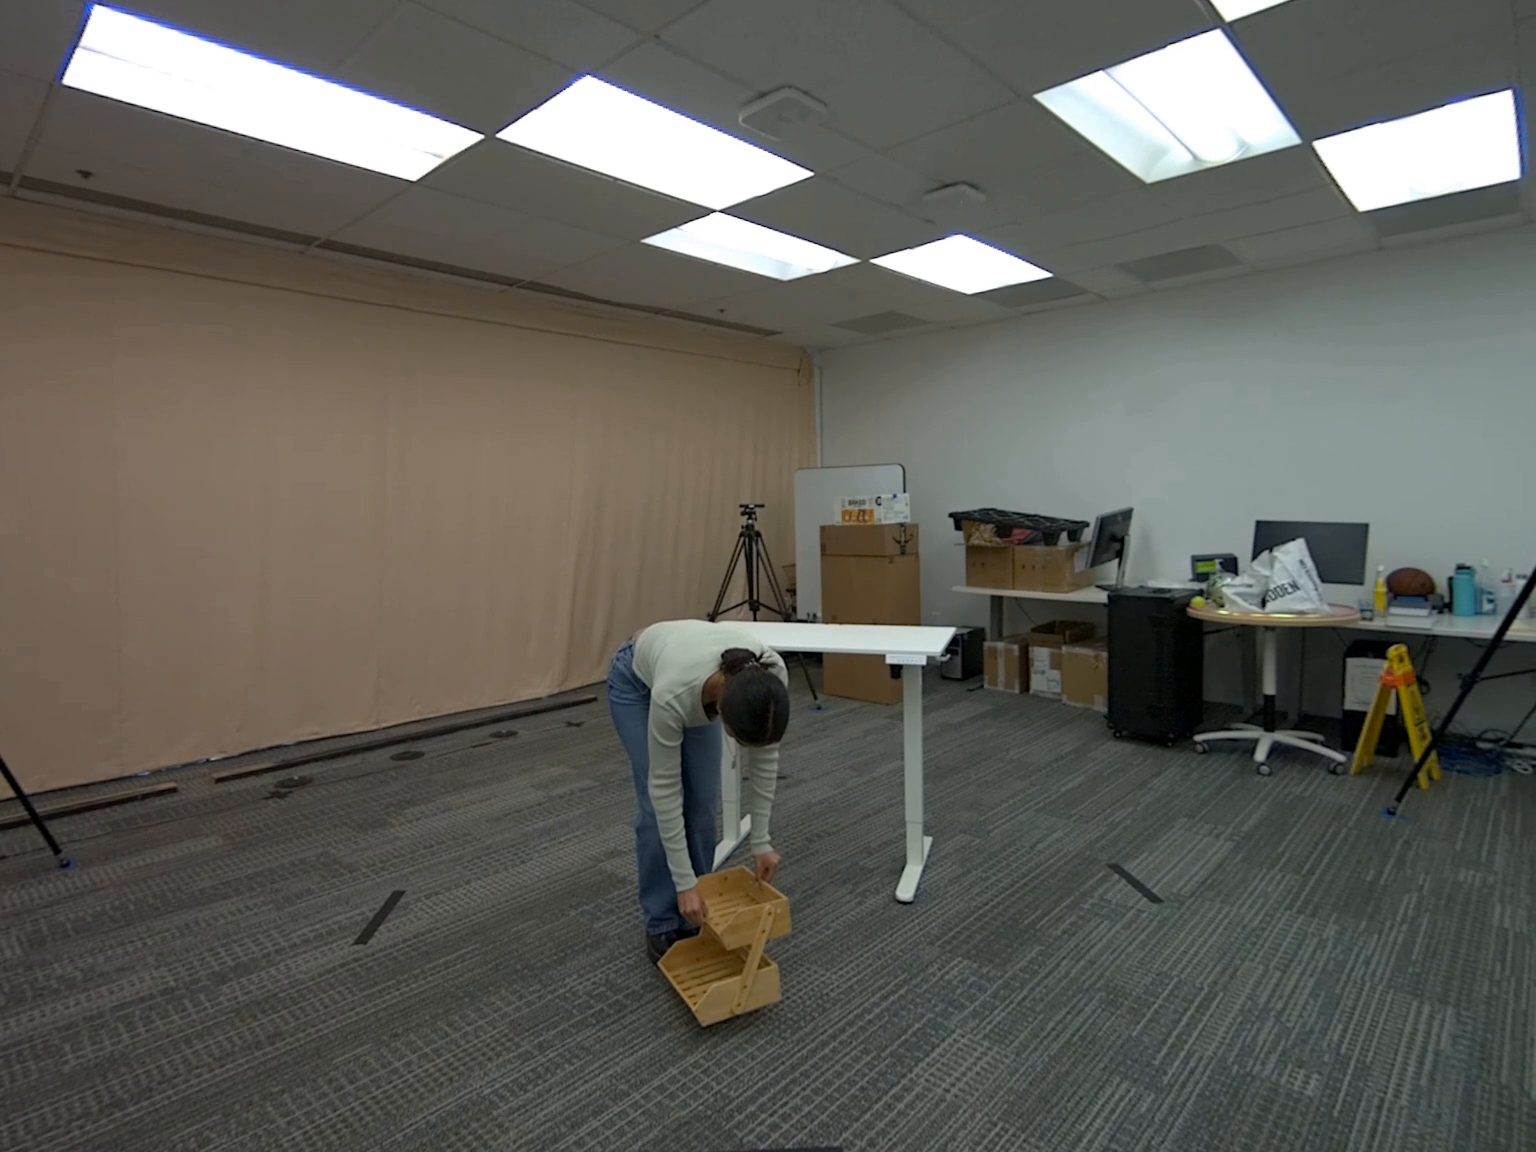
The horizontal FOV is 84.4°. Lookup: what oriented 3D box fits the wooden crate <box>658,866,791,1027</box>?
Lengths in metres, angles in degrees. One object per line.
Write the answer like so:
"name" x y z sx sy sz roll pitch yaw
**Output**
"wooden crate" -0.132 1.016 2.352 0.295 0.273 0.331 -4 -1 -24
